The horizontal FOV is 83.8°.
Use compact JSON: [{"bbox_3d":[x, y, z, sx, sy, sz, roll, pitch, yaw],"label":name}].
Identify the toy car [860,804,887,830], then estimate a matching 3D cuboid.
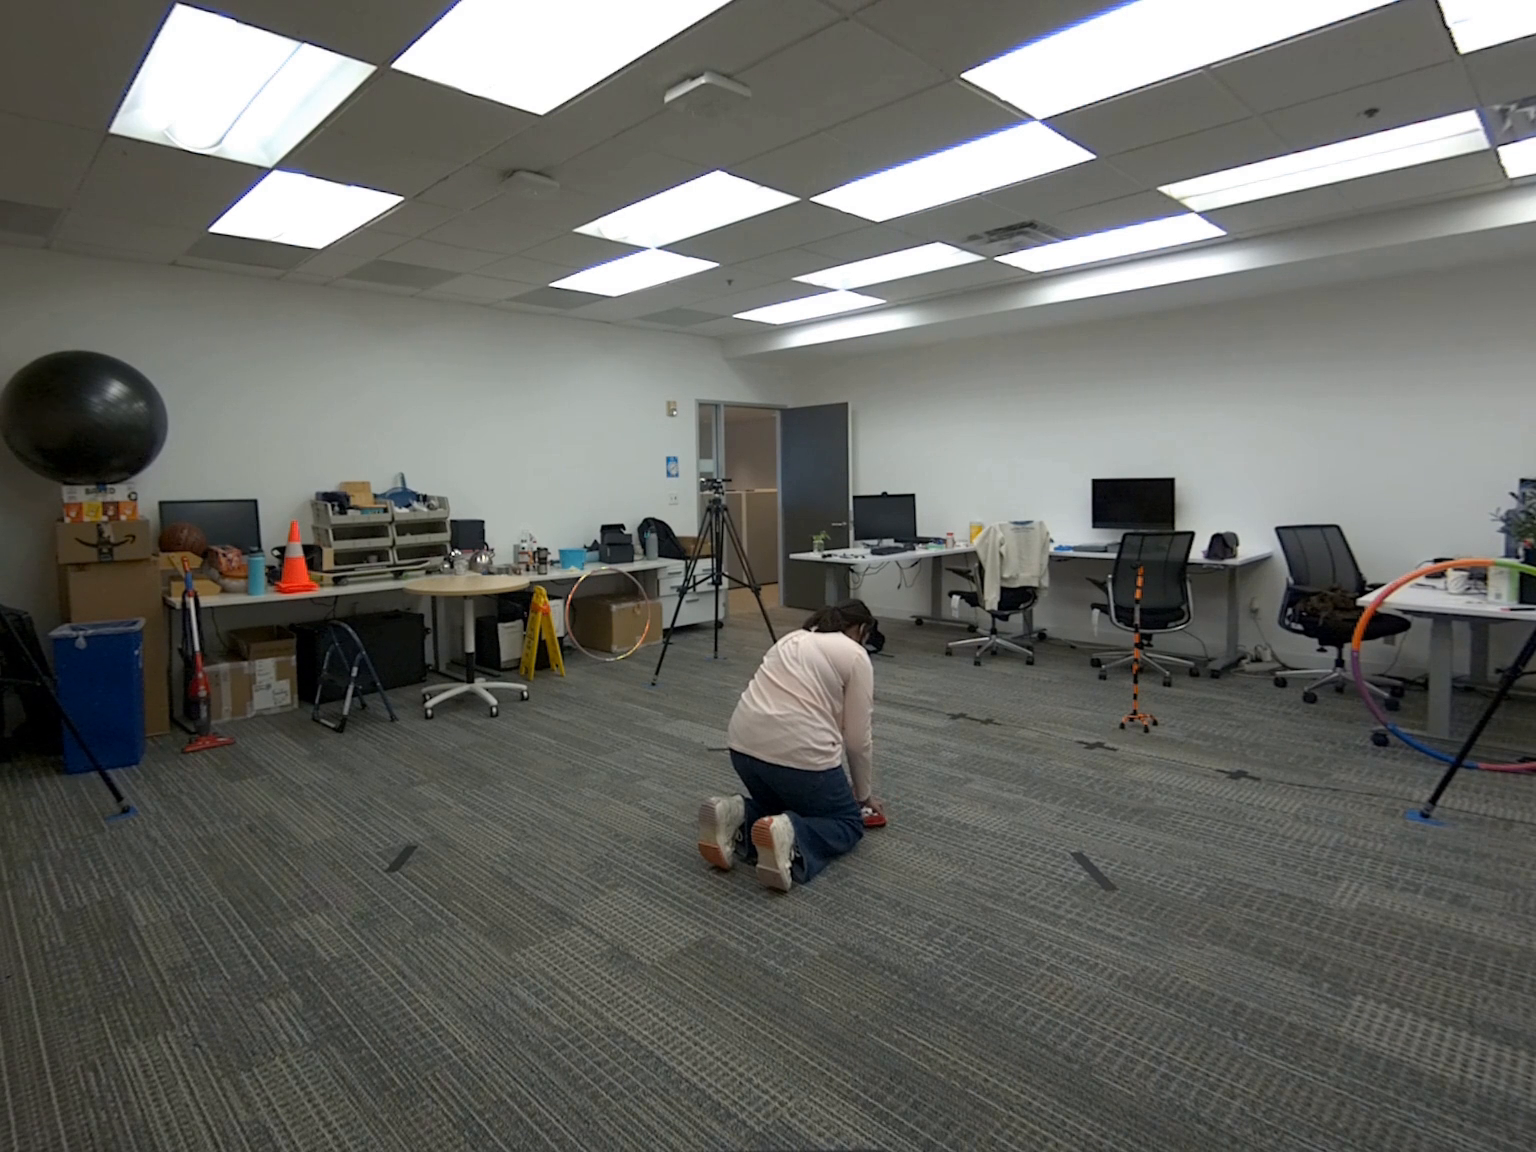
[{"bbox_3d":[0.391,0.961,3.505,0.129,0.082,0.260,-1,16,-9],"label":"toy car"}]
